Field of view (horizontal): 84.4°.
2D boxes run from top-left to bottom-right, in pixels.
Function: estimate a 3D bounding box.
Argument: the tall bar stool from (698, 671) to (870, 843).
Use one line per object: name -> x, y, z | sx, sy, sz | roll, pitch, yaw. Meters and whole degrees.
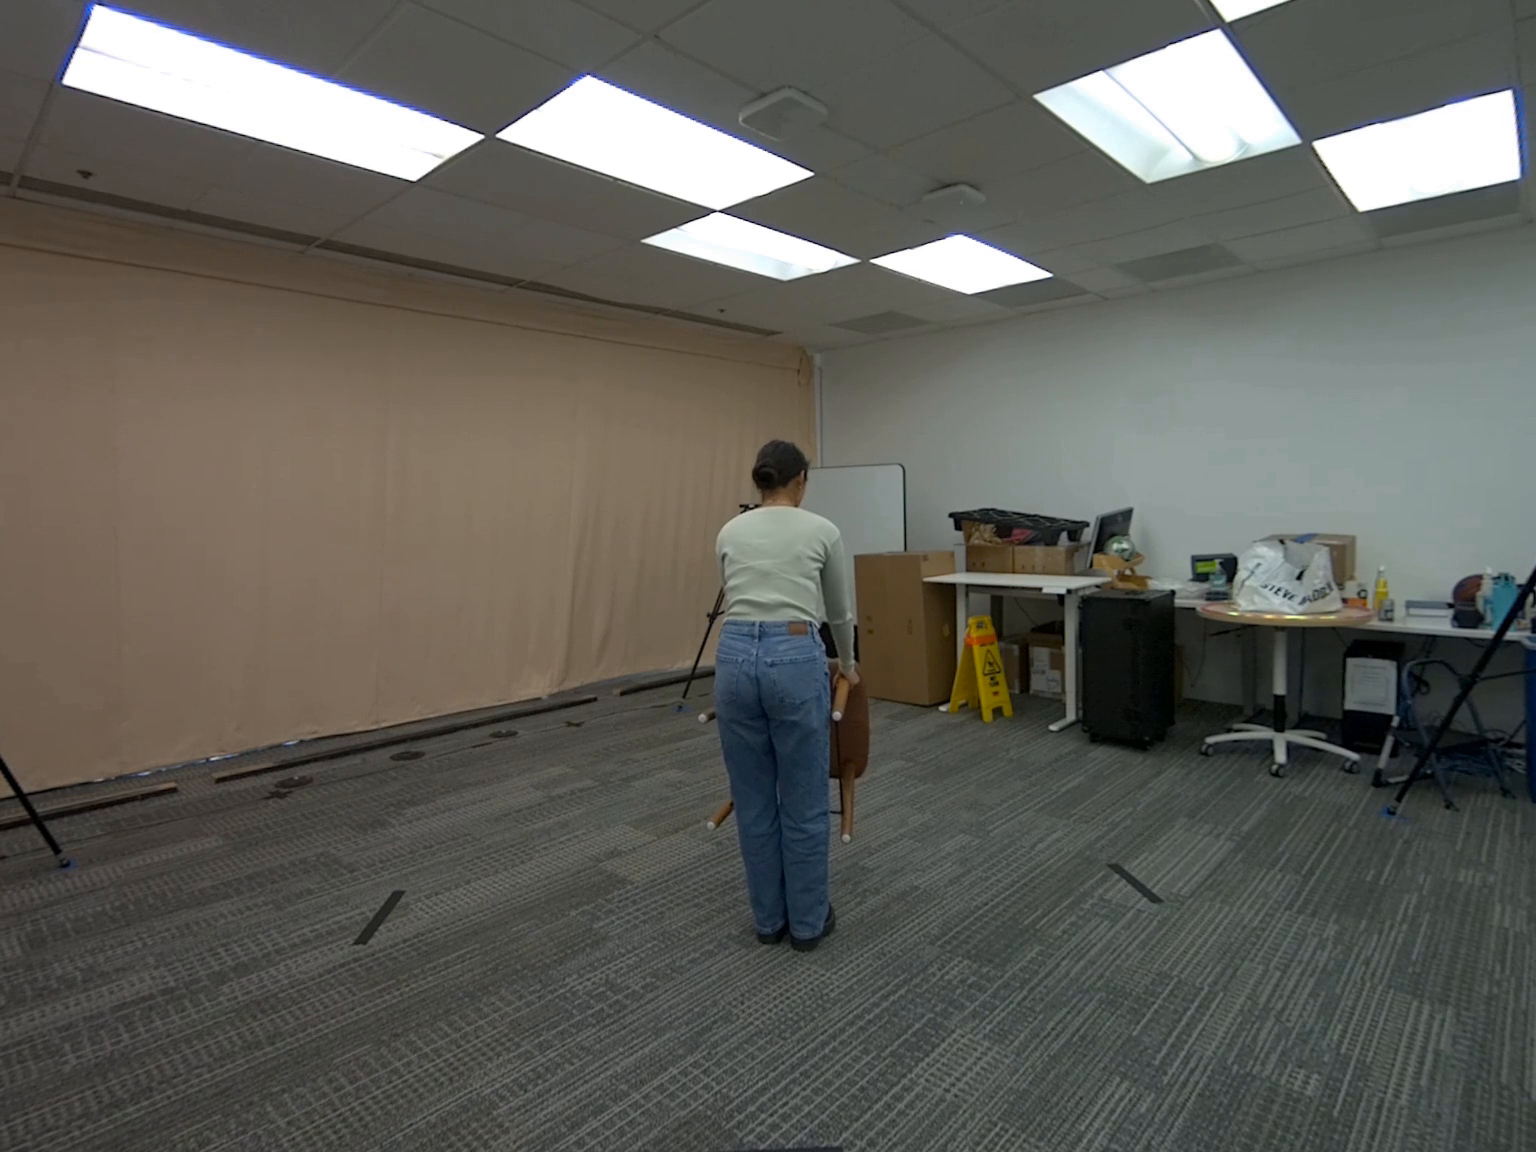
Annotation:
tall bar stool -> 0.114, 0.543, 2.986 | 0.475, 0.454, 0.880 | -3, 7, 14
